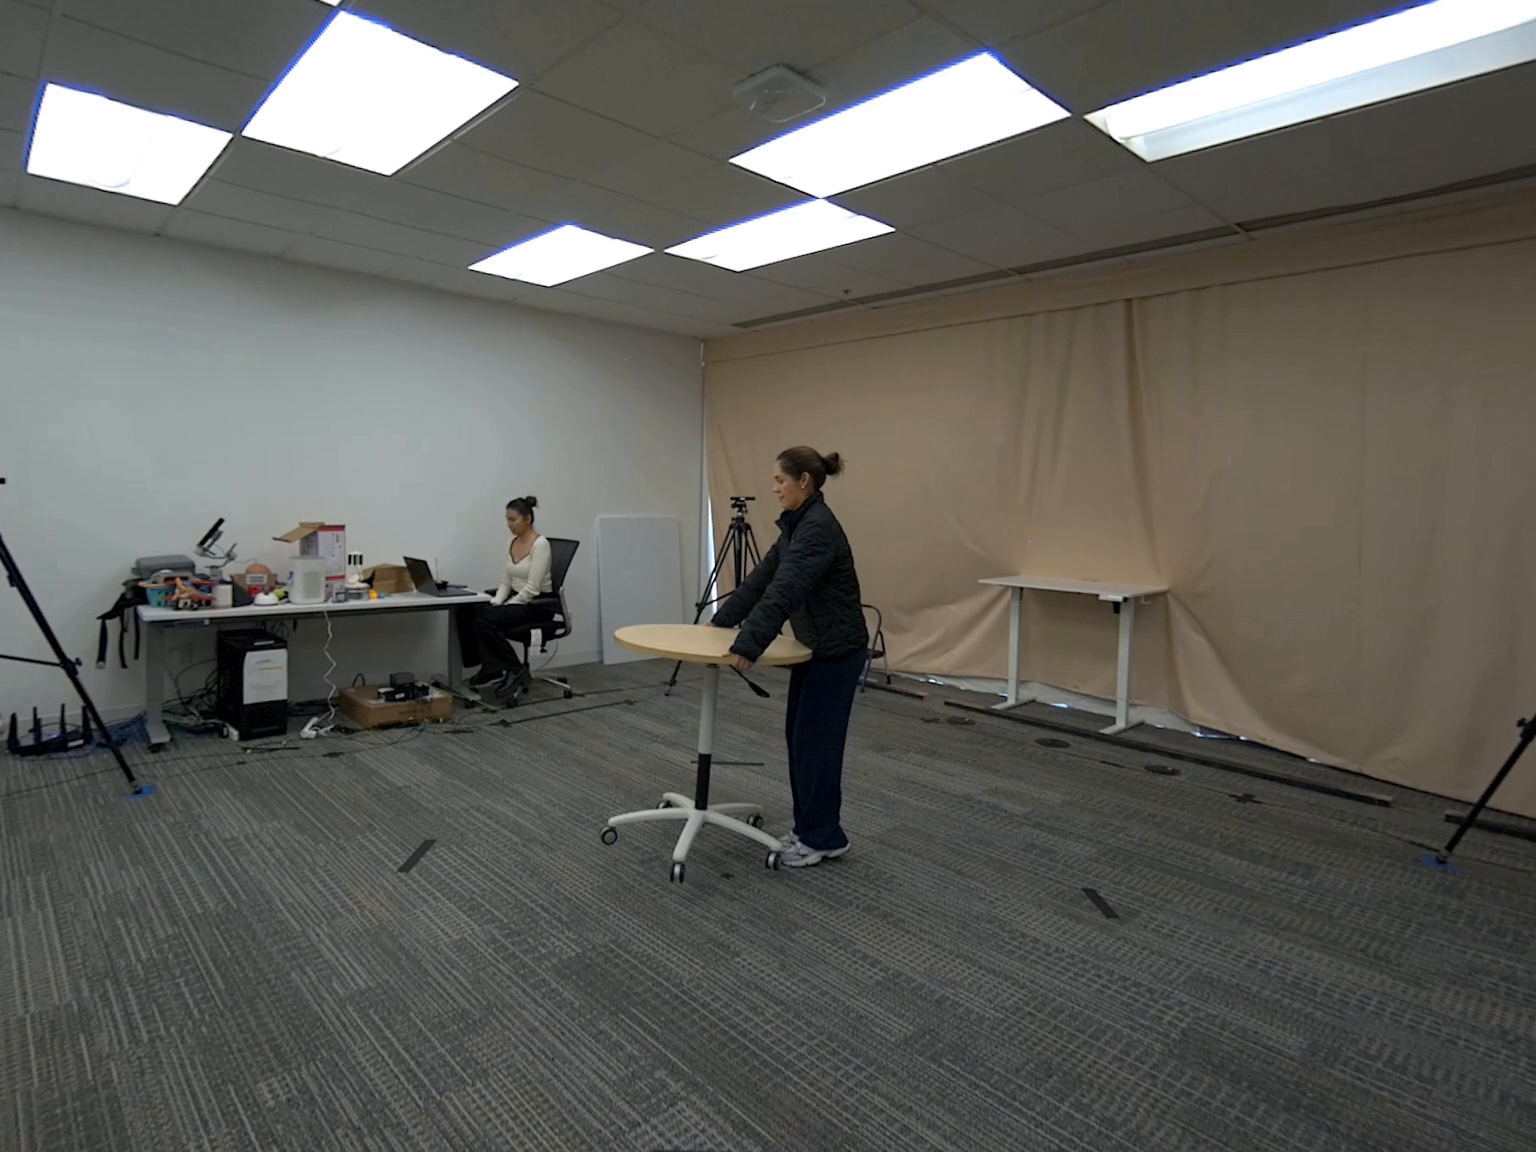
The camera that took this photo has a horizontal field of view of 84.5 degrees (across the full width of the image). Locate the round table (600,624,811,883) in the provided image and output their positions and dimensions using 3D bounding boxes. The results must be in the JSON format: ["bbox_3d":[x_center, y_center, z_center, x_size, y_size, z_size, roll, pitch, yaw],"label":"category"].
[{"bbox_3d":[-0.234,0.643,3.241,0.784,0.785,0.787,5,3,-2],"label":"round table"}]
